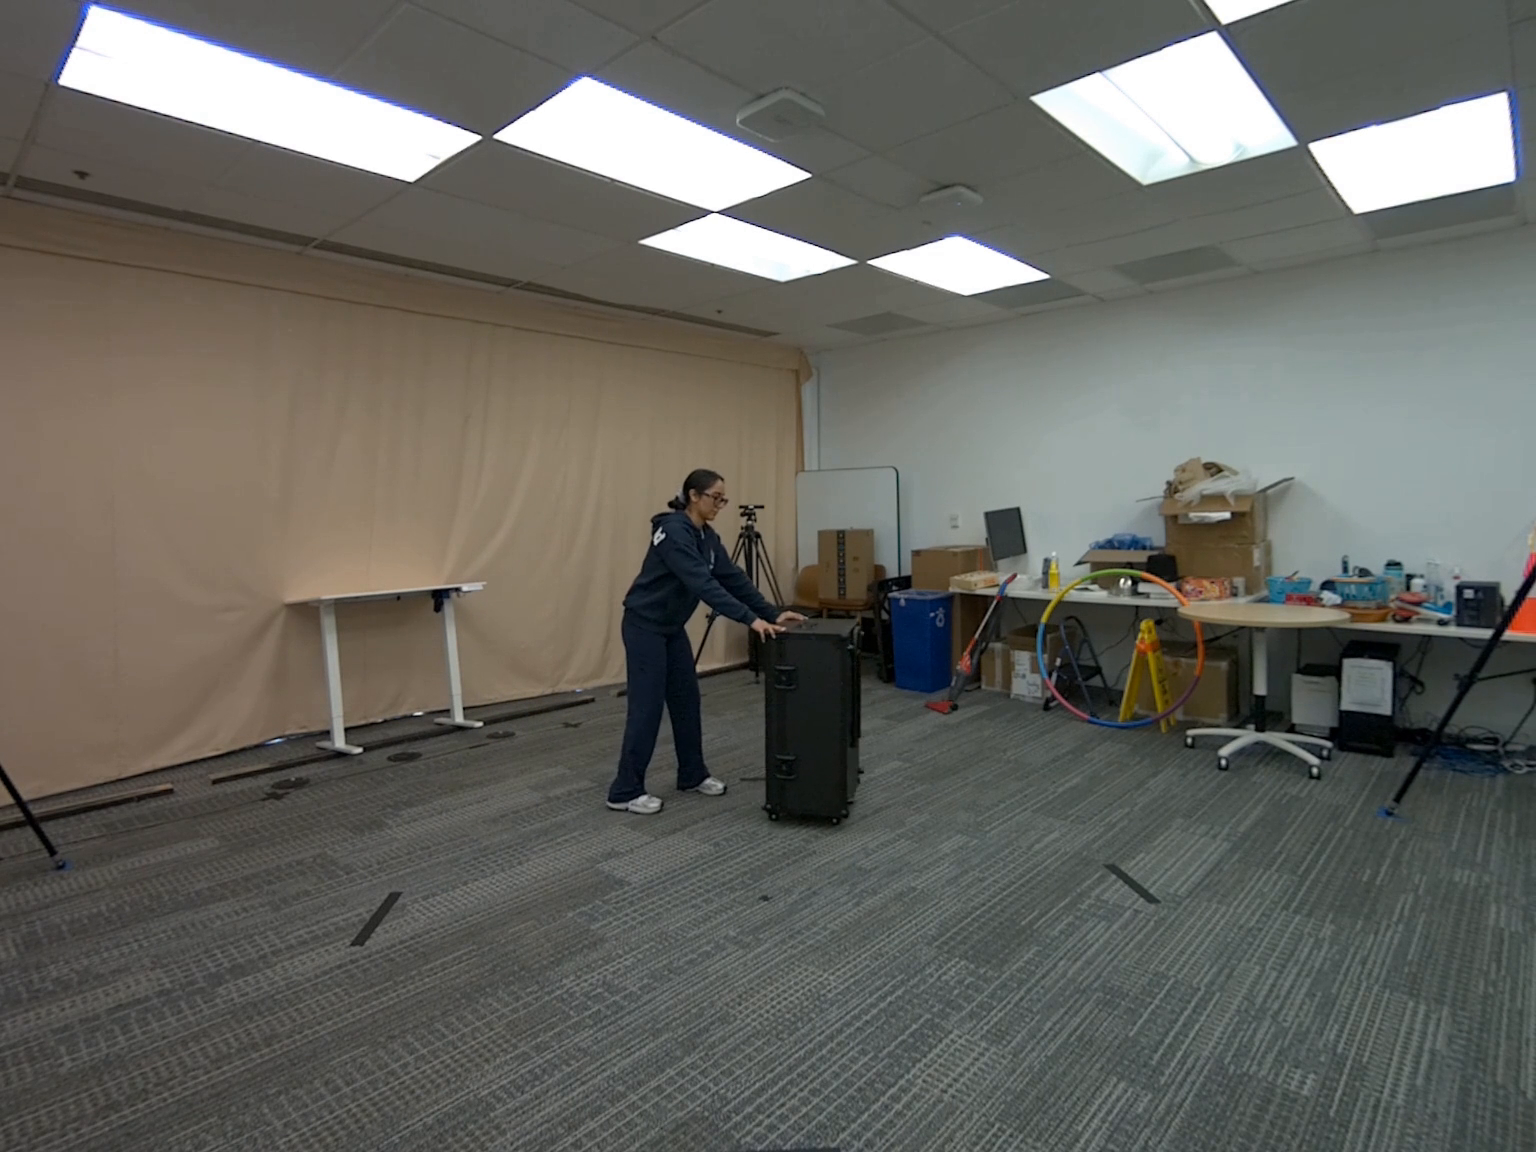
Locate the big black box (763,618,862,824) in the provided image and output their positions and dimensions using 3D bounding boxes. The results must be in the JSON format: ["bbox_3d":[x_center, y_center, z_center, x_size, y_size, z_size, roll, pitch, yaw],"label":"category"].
[{"bbox_3d":[0.221,0.643,3.799,0.403,0.859,0.514,2,4,15],"label":"big black box"}]
